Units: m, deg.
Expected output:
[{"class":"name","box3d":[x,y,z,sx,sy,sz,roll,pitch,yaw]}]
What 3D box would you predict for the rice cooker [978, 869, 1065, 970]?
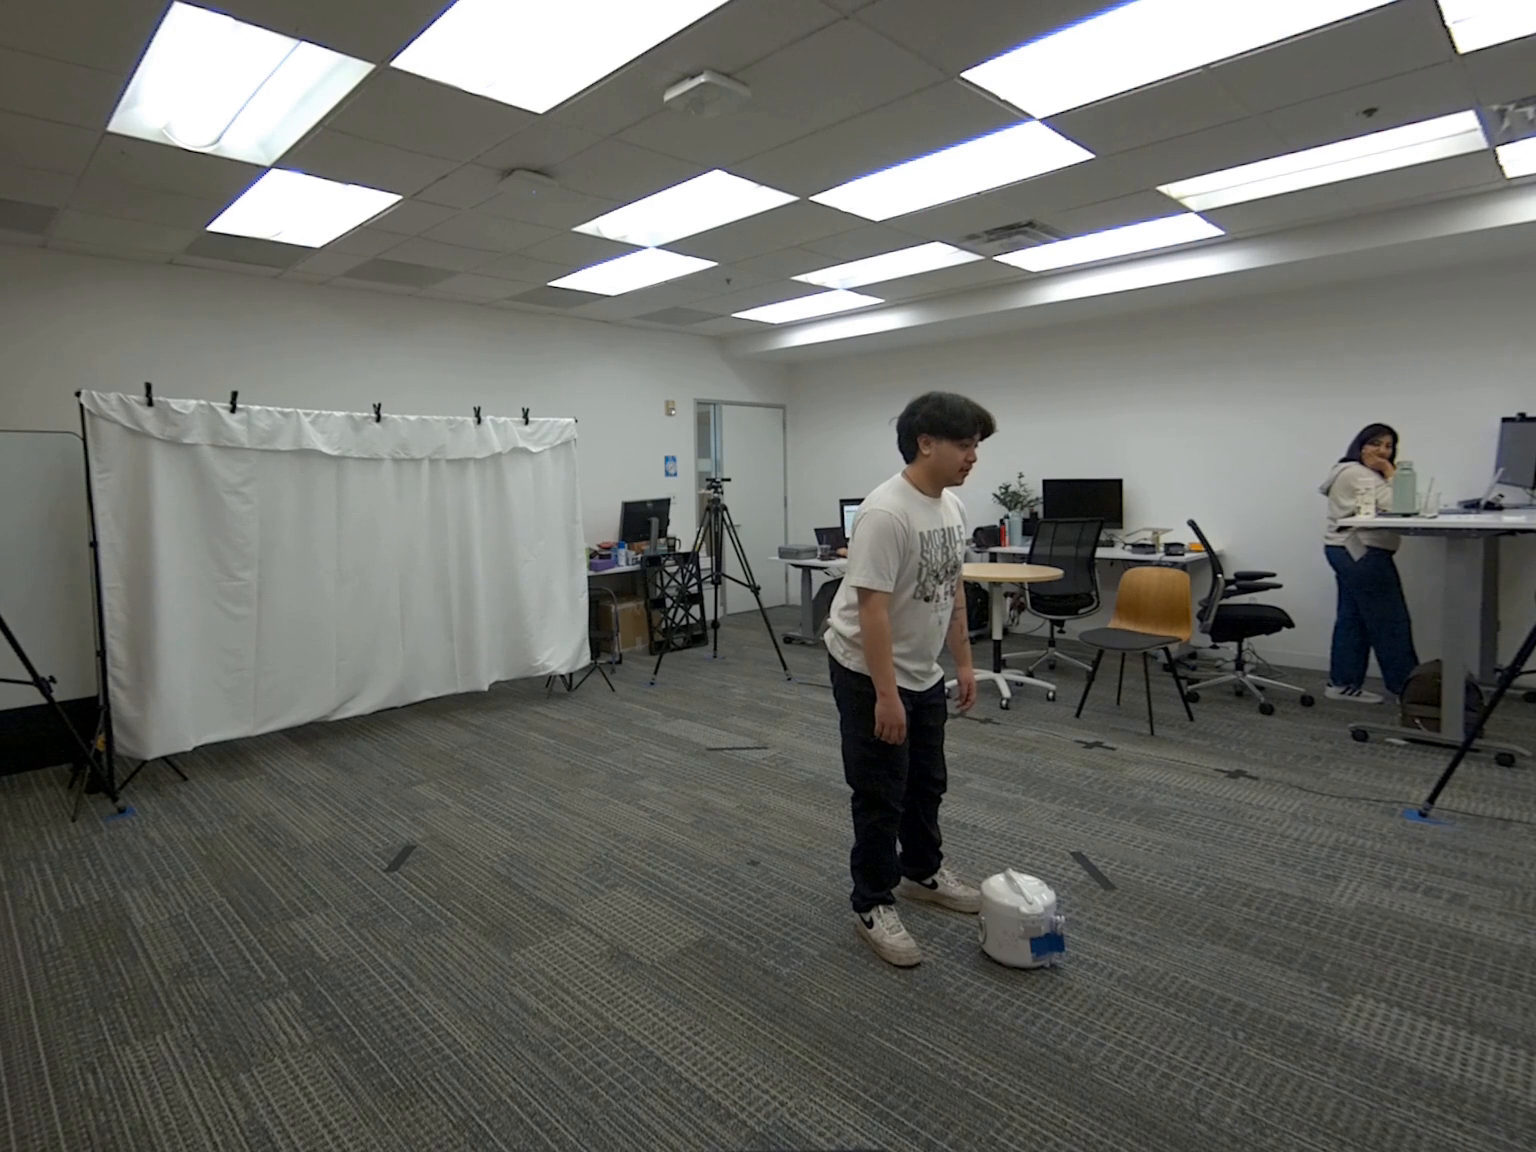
[{"class":"rice cooker","box3d":[0.726,0.979,2.479,0.217,0.232,0.222,0,4,-3]}]
